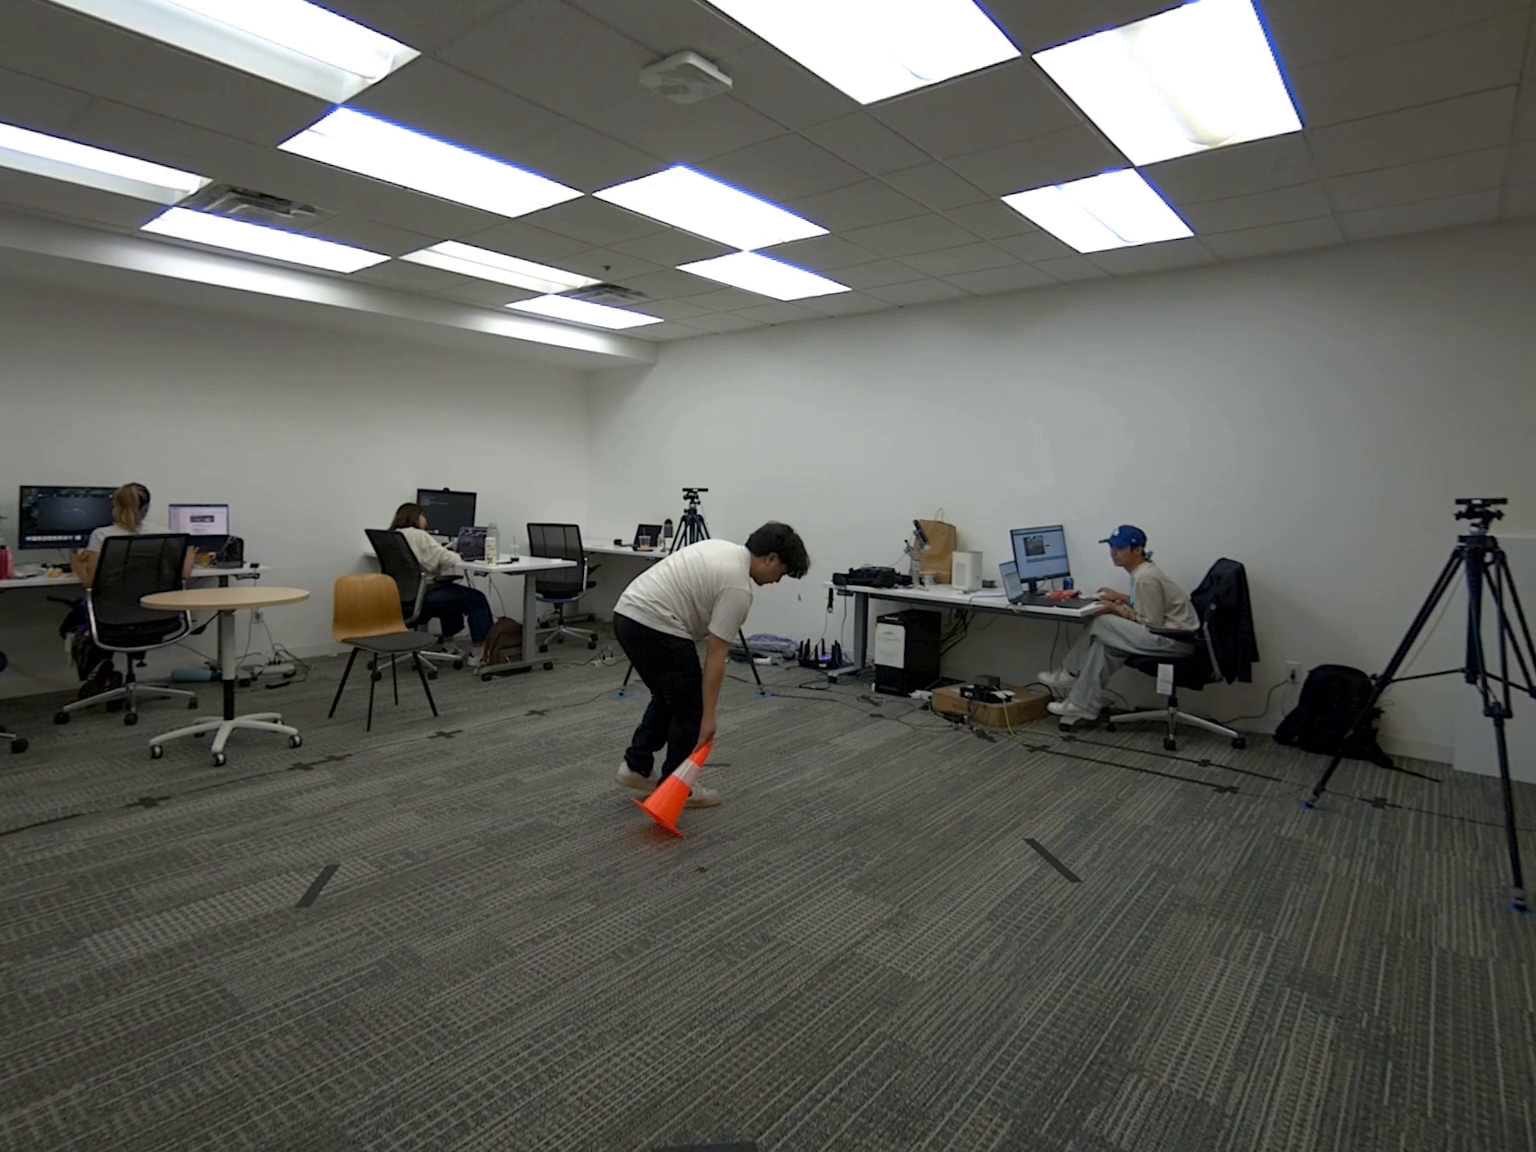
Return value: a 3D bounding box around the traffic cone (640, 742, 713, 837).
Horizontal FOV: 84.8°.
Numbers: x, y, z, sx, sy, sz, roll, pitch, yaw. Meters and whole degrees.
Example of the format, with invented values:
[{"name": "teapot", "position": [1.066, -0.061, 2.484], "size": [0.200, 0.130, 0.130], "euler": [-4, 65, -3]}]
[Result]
[{"name": "traffic cone", "position": [-0.355, 0.830, 3.492], "size": [0.212, 0.384, 0.195], "euler": [13, -30, 49]}]
